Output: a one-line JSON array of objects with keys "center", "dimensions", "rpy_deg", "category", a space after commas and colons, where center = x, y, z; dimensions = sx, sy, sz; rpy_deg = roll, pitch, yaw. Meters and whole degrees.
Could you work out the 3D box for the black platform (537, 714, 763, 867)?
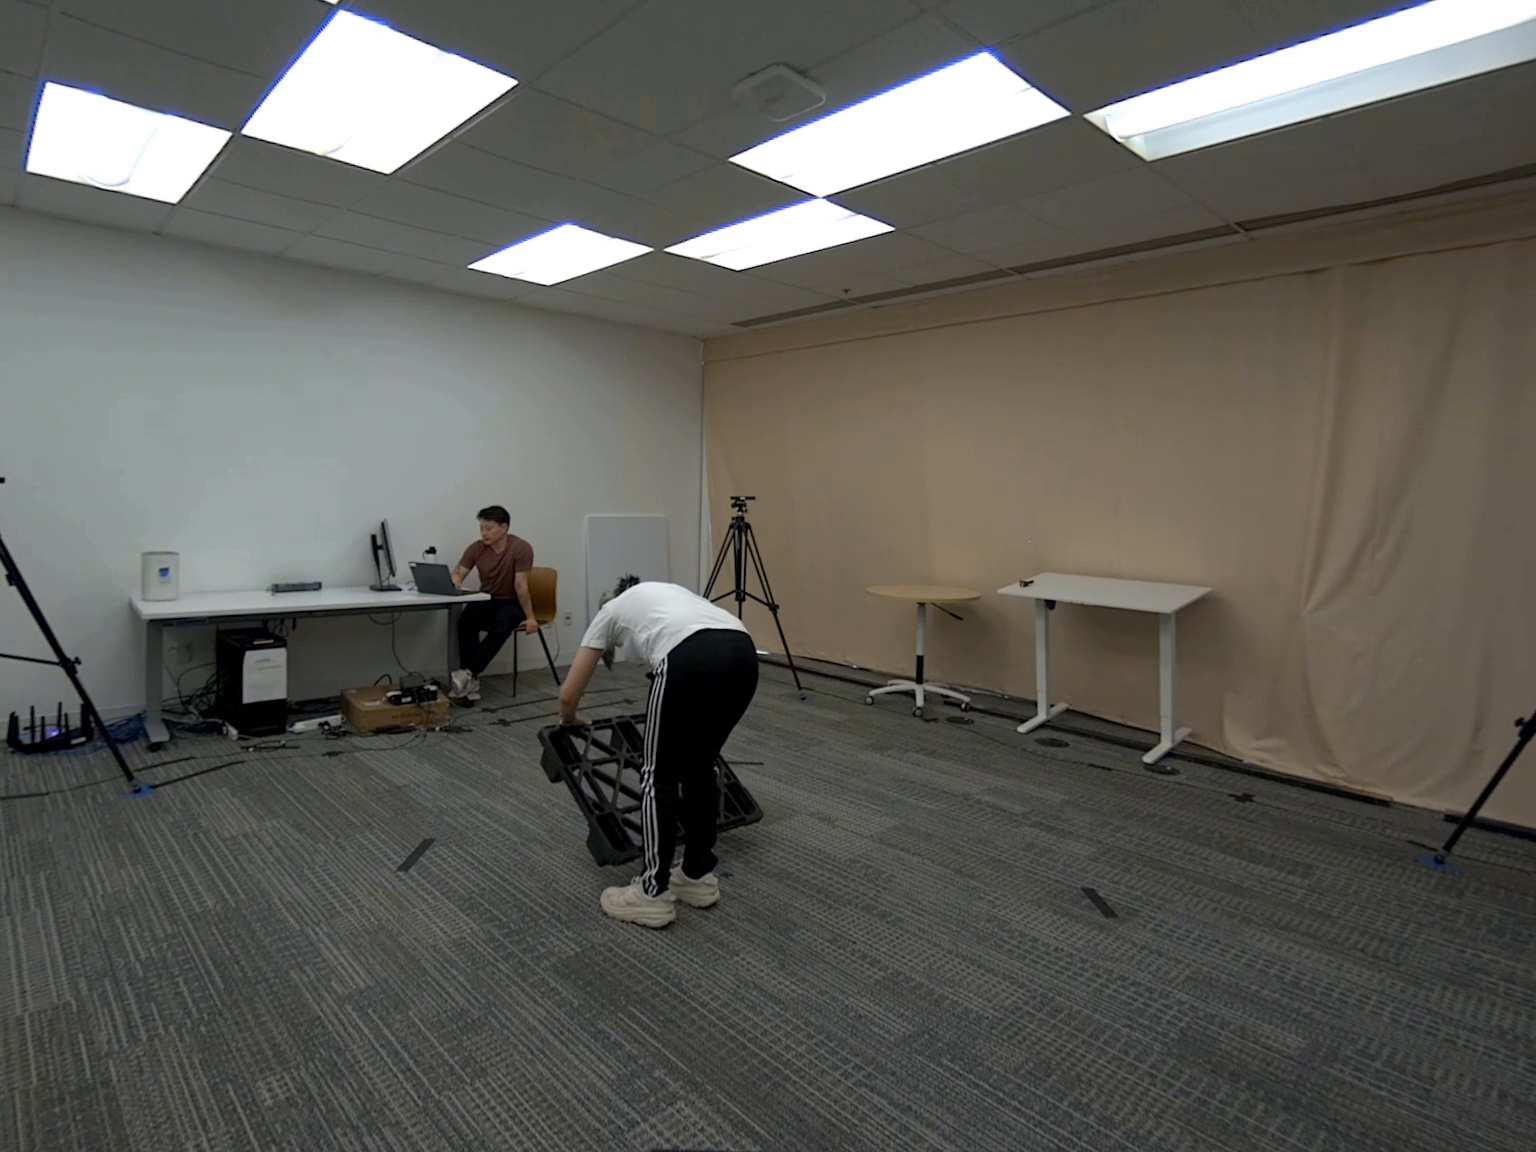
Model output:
[{"center": [-0.471, 0.816, 3.301], "dimensions": [0.786, 0.143, 0.622], "rpy_deg": [3, 39, -50], "category": "black platform"}]
